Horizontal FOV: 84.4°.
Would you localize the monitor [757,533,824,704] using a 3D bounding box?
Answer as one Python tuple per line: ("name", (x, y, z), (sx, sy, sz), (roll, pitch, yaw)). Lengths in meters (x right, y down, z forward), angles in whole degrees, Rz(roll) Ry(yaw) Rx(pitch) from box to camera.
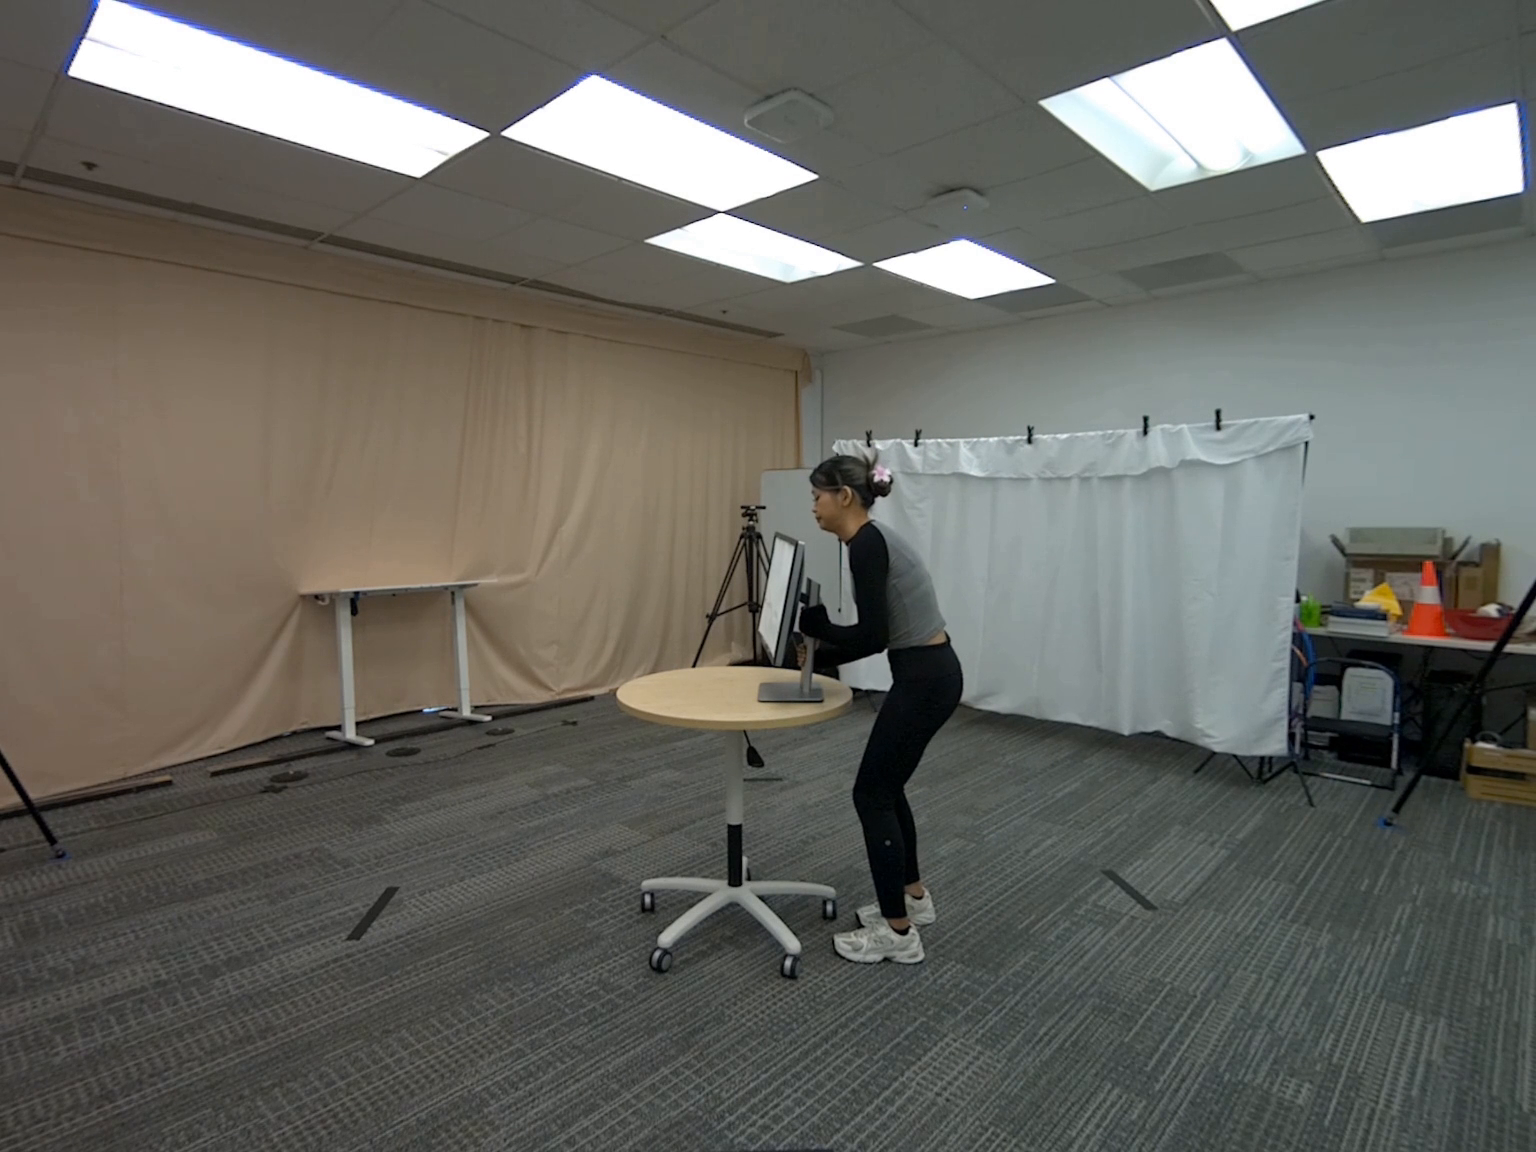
("monitor", (0.079, 0.135, 2.686), (0.186, 0.521, 0.544), (-1, 5, -7))
